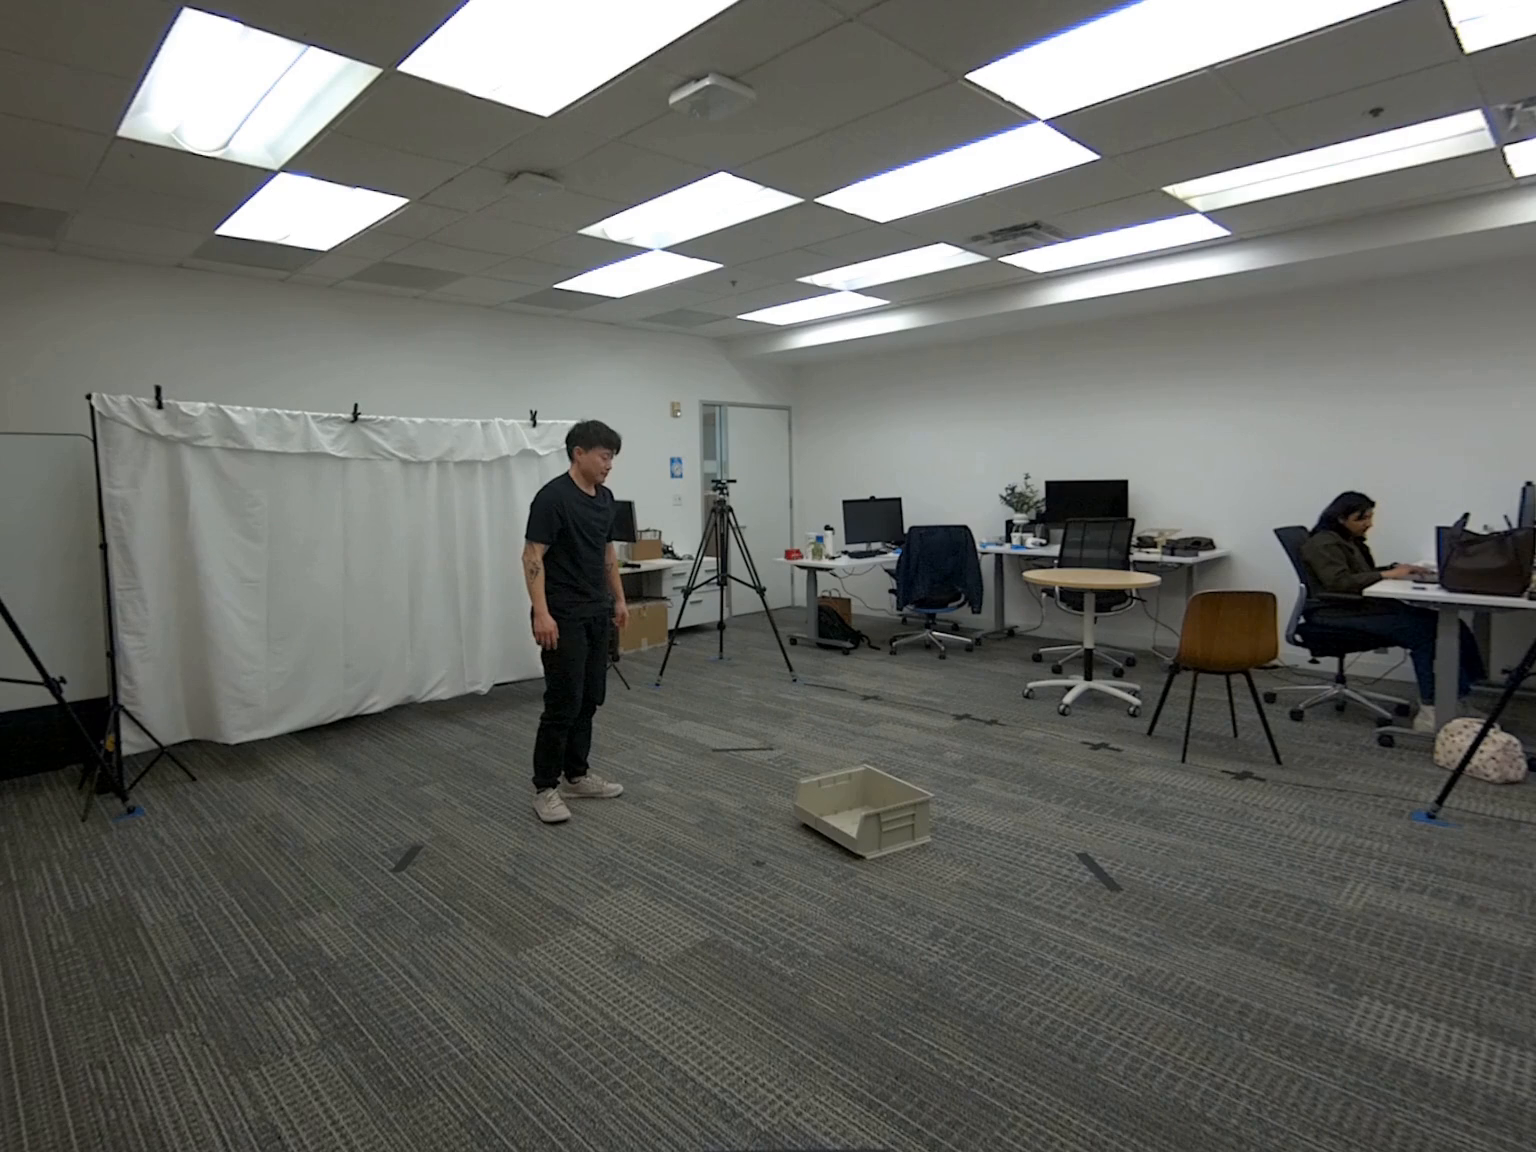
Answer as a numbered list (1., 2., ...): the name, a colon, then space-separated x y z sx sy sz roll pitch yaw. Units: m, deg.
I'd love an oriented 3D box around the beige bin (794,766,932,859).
1. beige bin: 0.371 0.924 3.363 0.368 0.188 0.434 -4 6 -31
